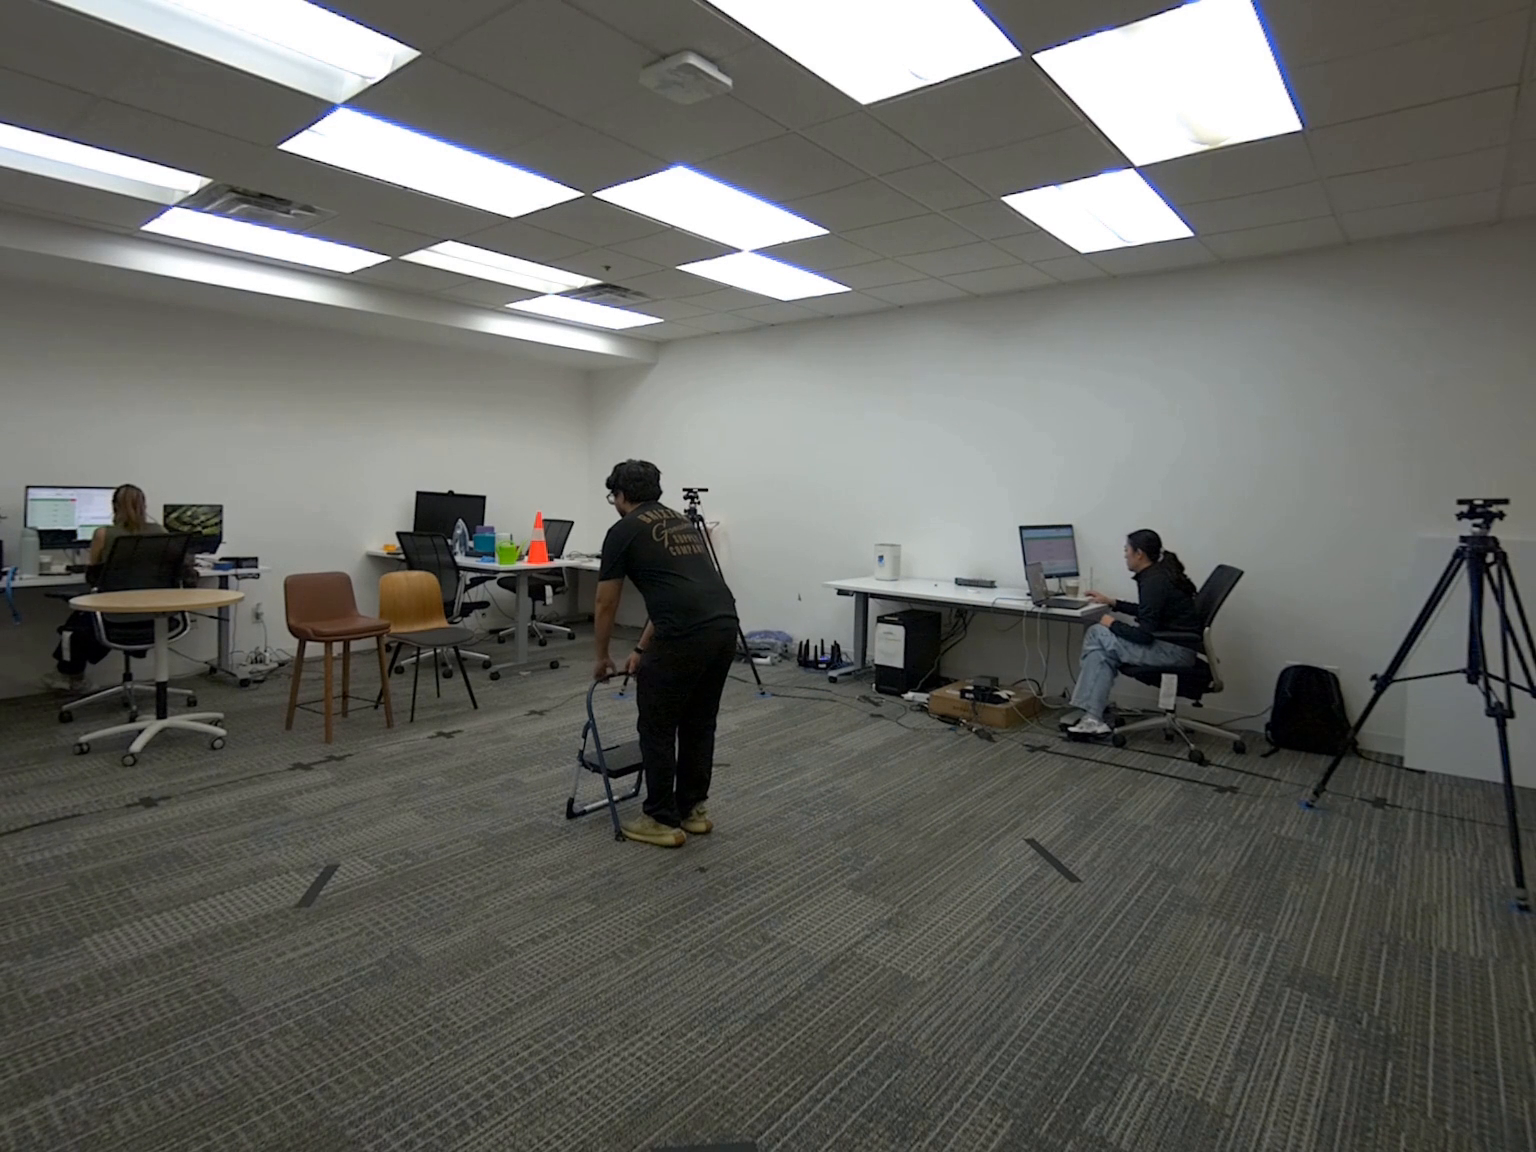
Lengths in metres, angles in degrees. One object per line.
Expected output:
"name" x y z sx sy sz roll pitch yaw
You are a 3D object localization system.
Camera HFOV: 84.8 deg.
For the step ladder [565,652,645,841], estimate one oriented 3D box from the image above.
"step ladder" -0.600 0.714 3.601 0.361 0.605 0.418 3 4 38
